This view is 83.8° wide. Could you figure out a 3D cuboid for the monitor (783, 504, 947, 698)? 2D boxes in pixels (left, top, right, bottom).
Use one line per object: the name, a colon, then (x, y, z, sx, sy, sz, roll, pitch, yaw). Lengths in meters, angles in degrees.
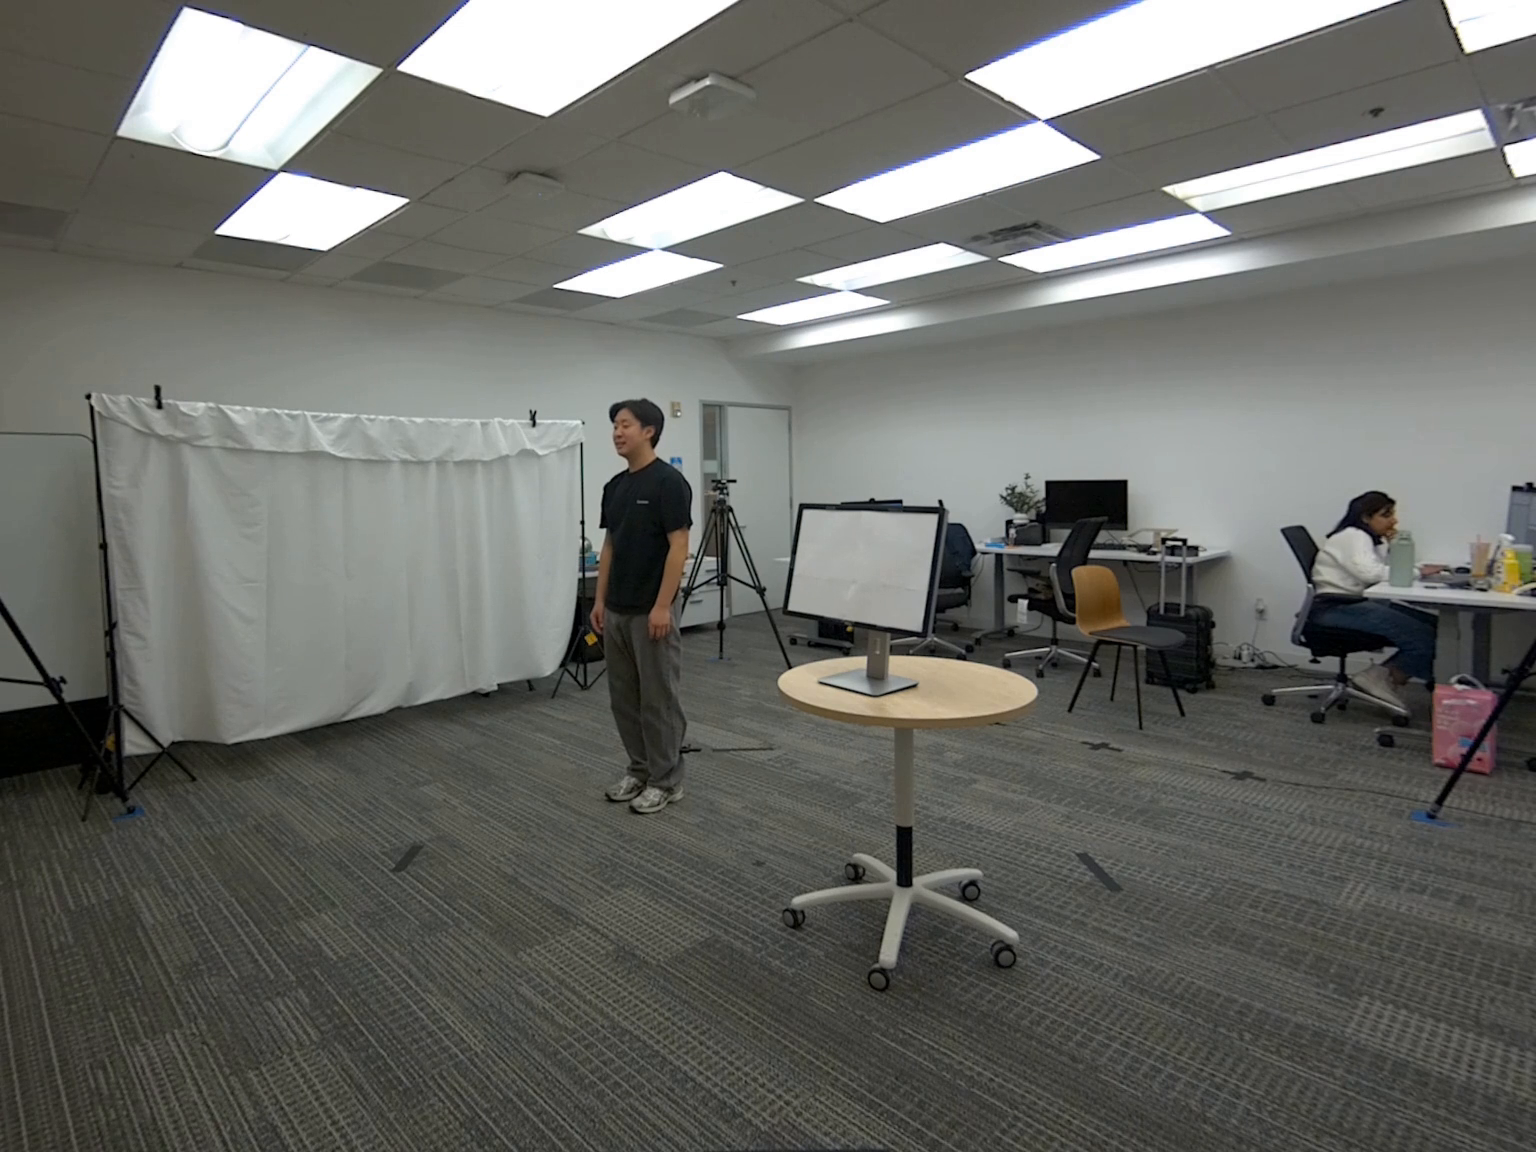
monitor: (0.319, 0.061, 2.575, 0.204, 0.554, 0.583, 4, 0, -42)
